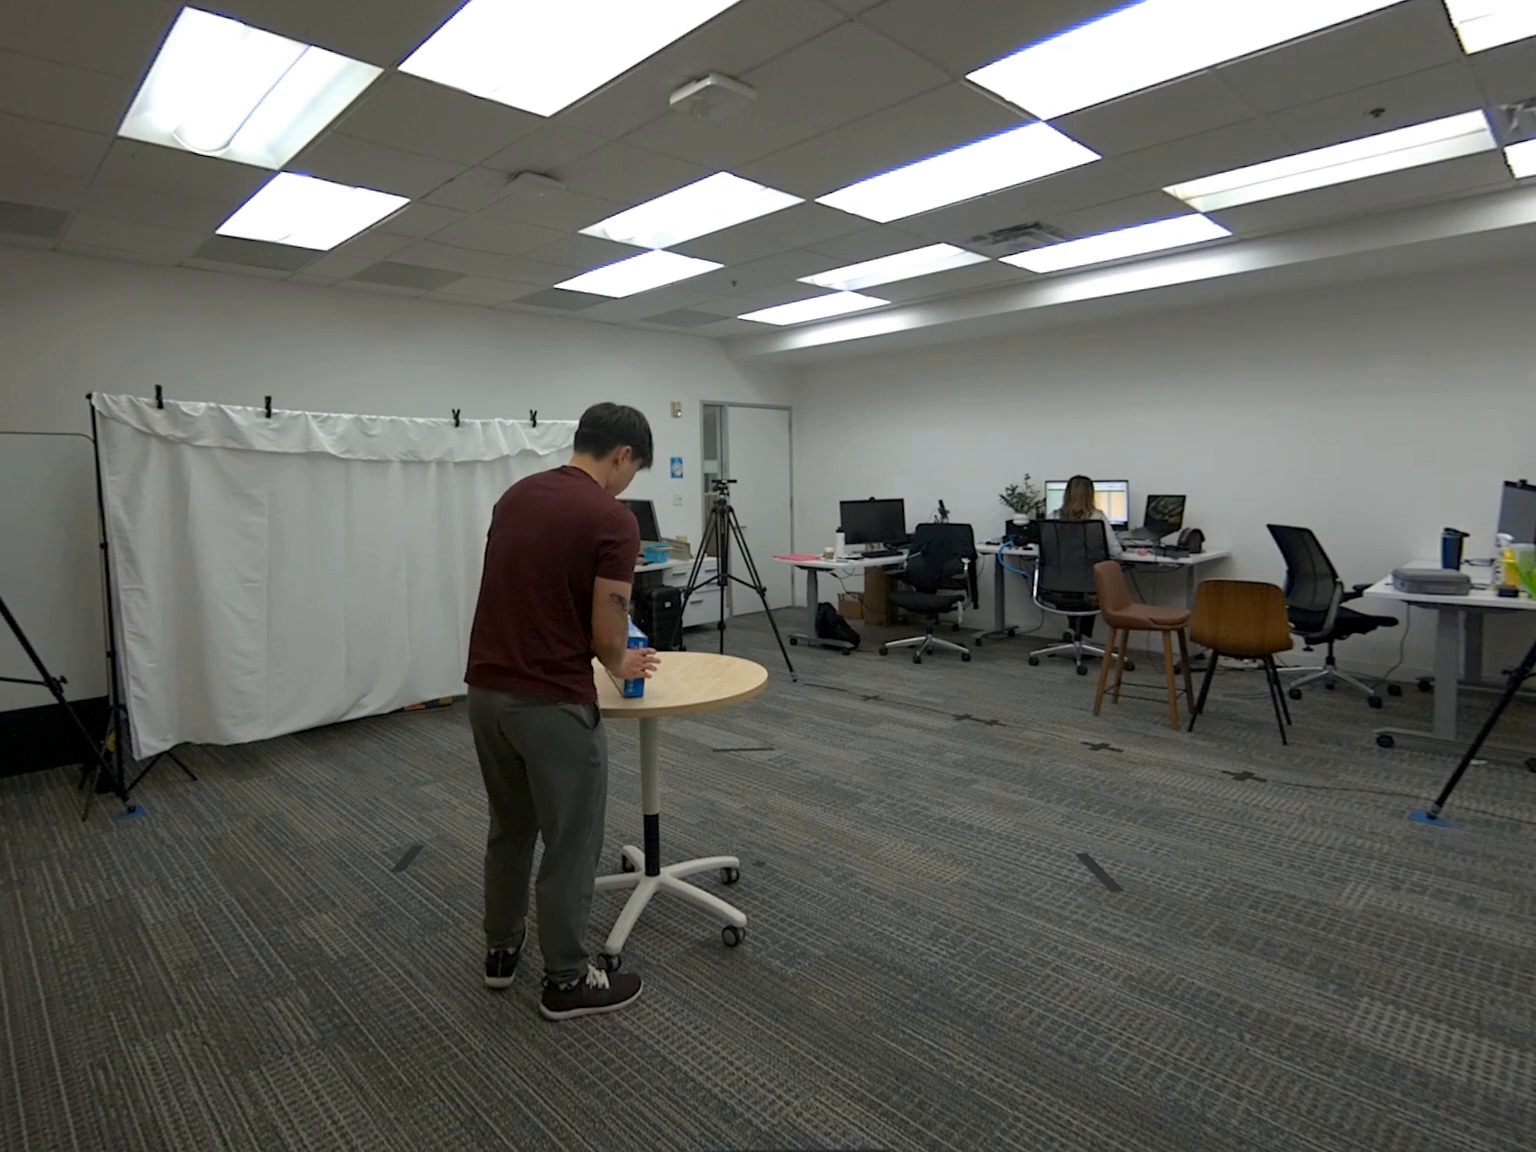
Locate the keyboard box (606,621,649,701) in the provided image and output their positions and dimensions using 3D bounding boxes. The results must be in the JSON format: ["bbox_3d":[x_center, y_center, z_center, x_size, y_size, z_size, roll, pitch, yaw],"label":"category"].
[{"bbox_3d":[-0.442,0.242,2.643,0.058,0.175,0.445,2,5,-18],"label":"keyboard box"}]
